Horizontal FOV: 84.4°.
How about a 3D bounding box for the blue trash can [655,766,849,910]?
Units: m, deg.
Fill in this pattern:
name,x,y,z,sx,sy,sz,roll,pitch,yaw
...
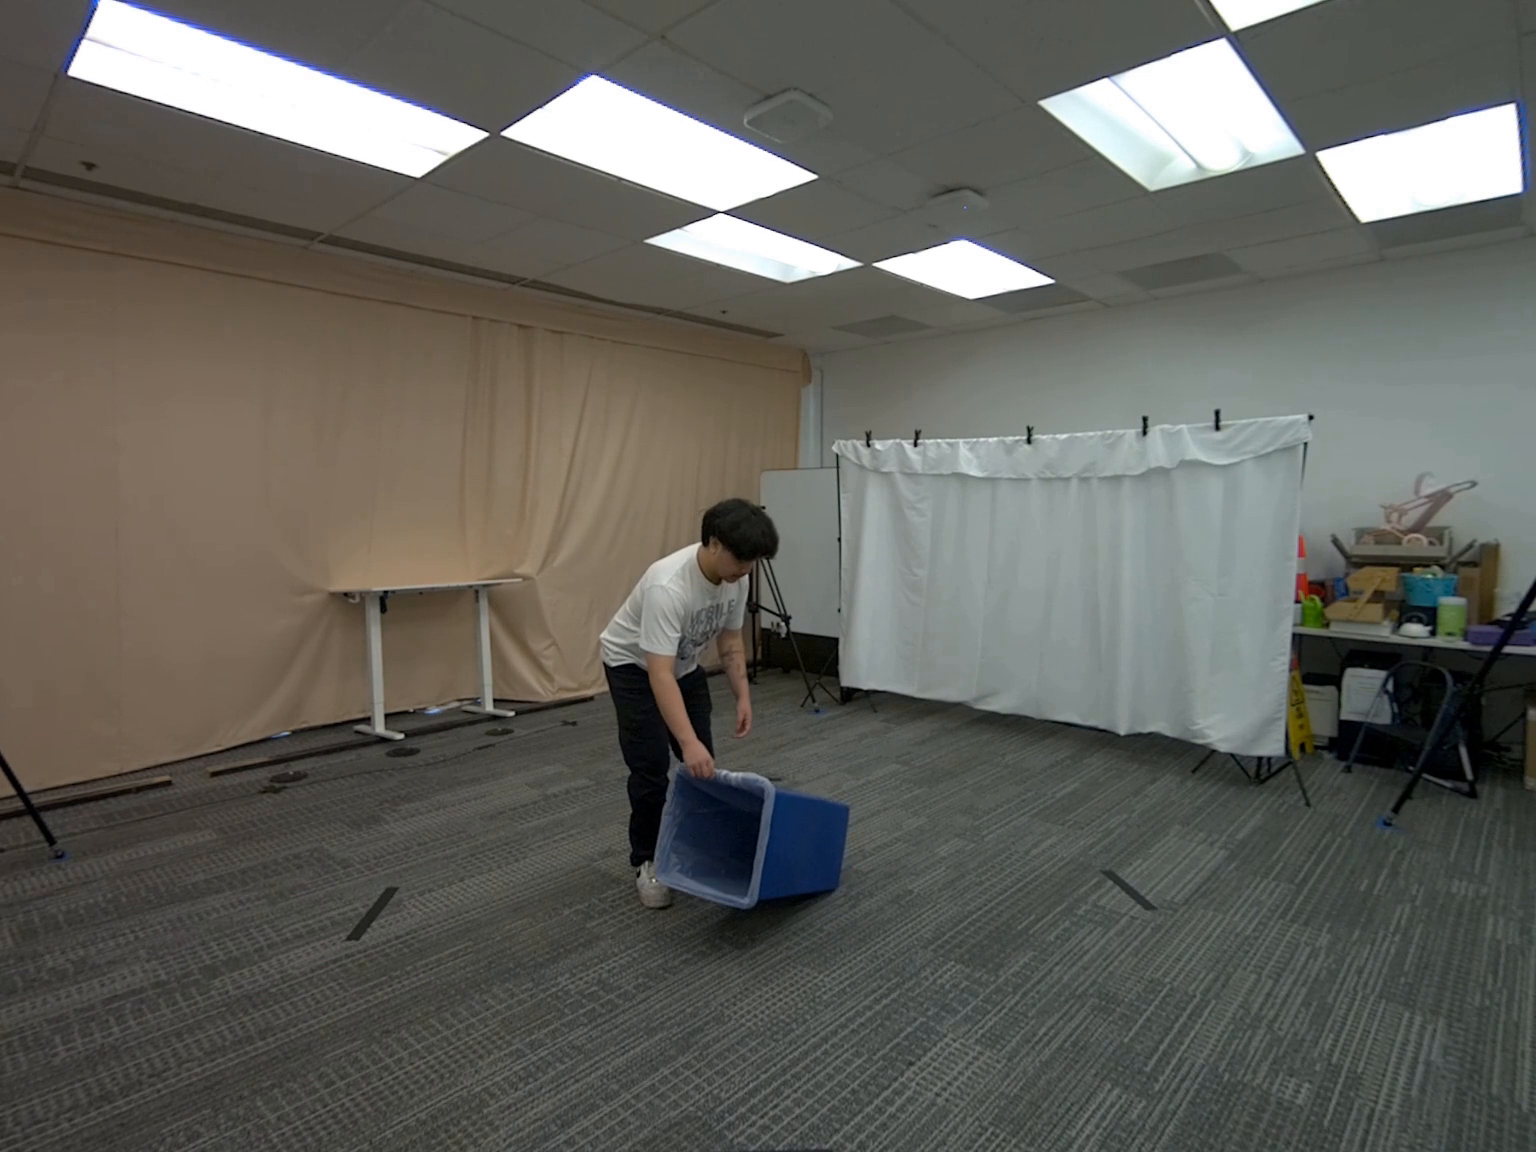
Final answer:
name,x,y,z,sx,sy,sz,roll,pitch,yaw
blue trash can,-0.005,0.894,2.875,0.389,0.376,0.689,1,-17,31
